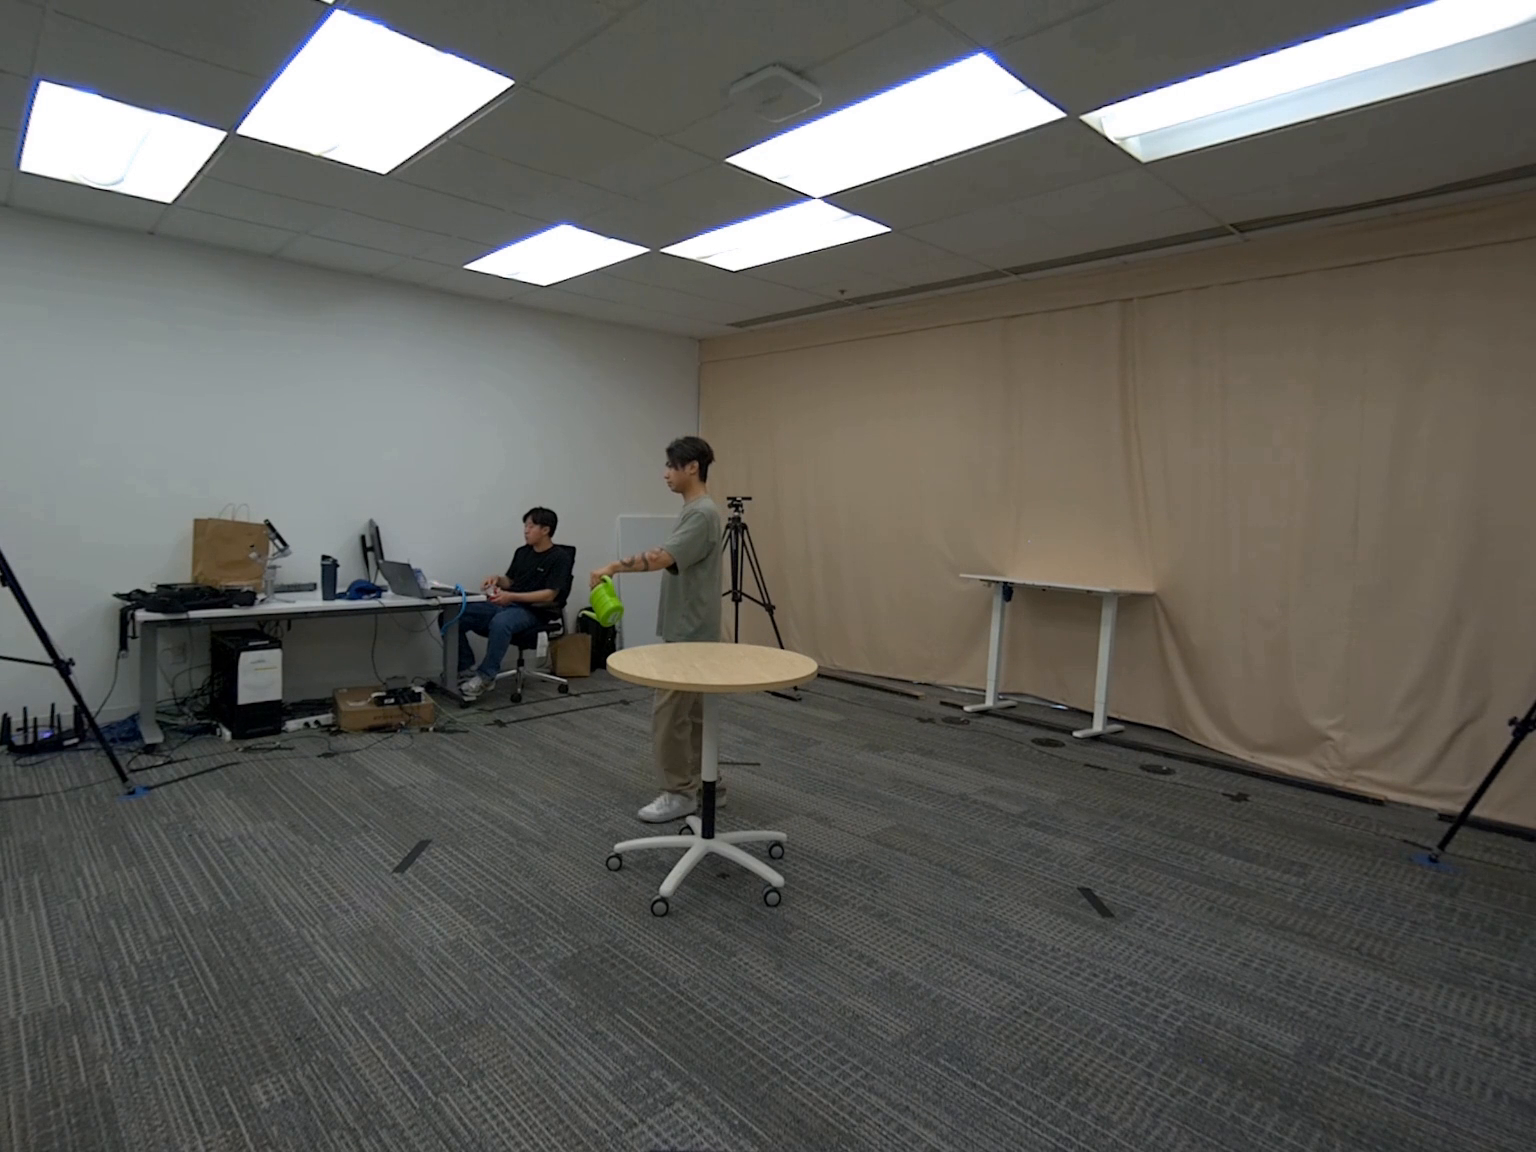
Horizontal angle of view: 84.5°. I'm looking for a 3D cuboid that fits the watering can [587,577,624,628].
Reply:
[{"bbox_3d":[-0.687,0.134,3.457,0.096,0.275,0.182,-12,54,-32],"label":"watering can"}]
